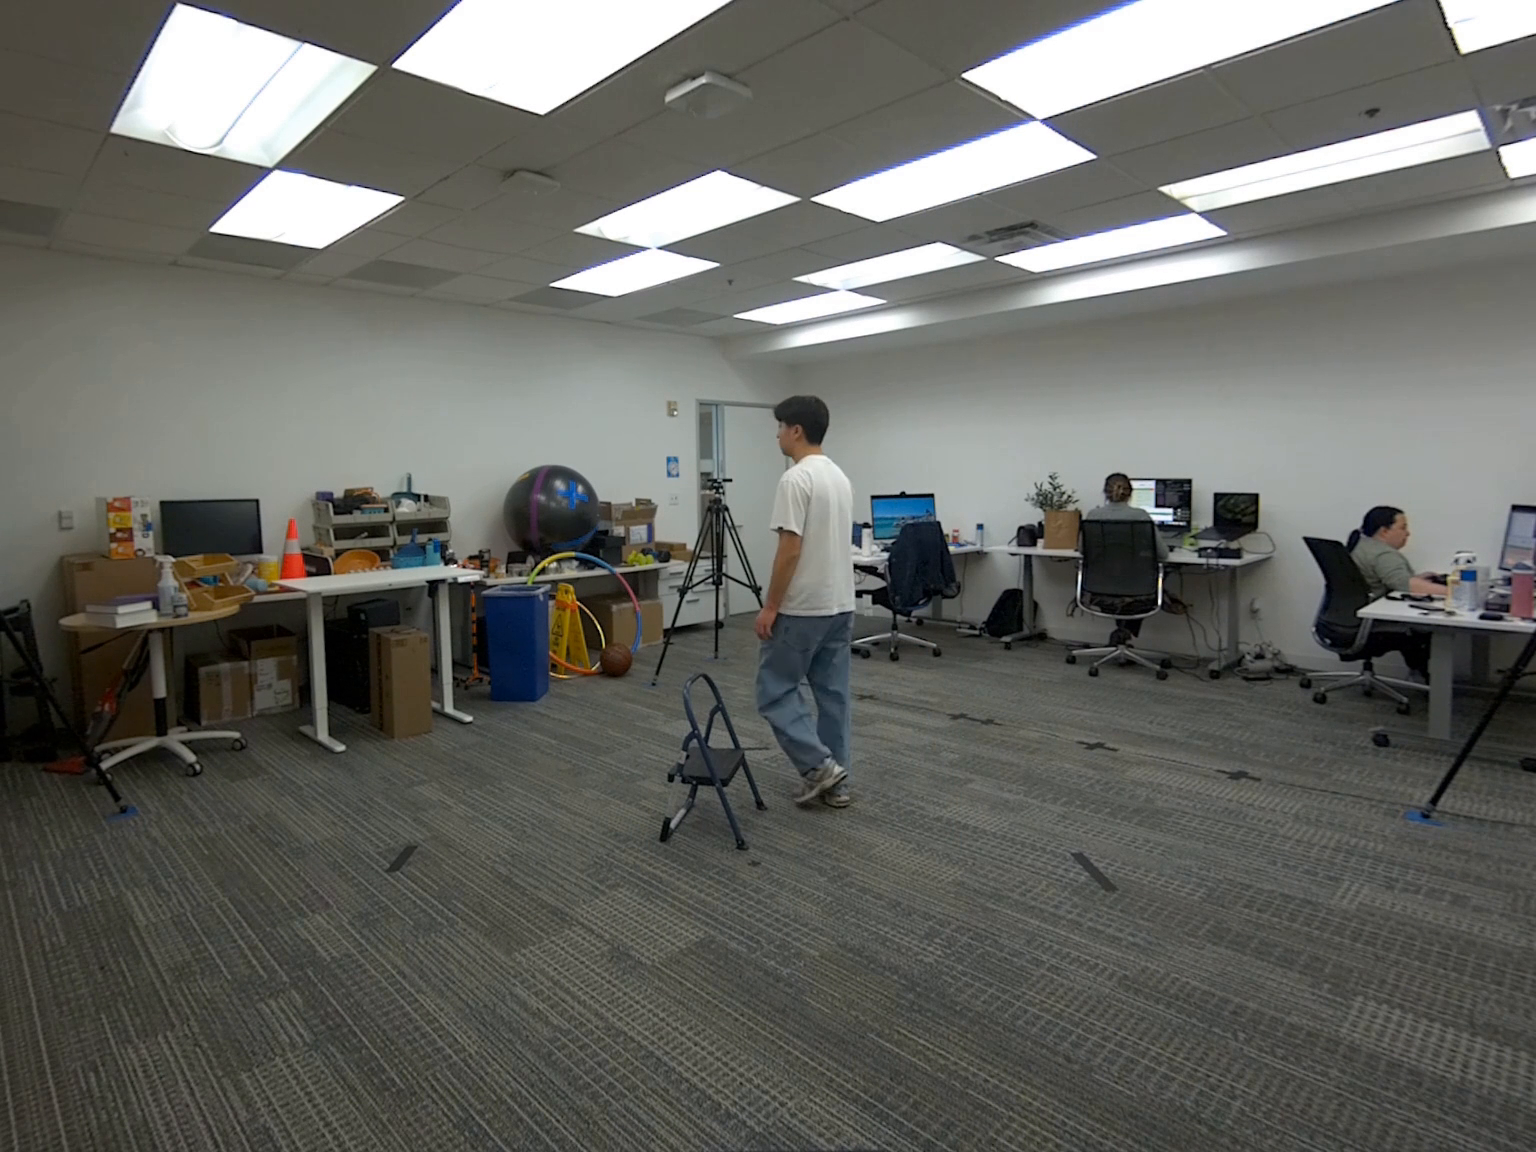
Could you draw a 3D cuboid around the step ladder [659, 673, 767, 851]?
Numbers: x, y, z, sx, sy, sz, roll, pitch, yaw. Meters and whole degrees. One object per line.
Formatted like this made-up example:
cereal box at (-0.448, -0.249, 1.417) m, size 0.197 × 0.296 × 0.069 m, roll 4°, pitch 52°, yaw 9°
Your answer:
step ladder at (-0.220, 0.706, 3.444) m, size 0.353 × 0.604 × 0.427 m, roll 0°, pitch 4°, yaw 11°
